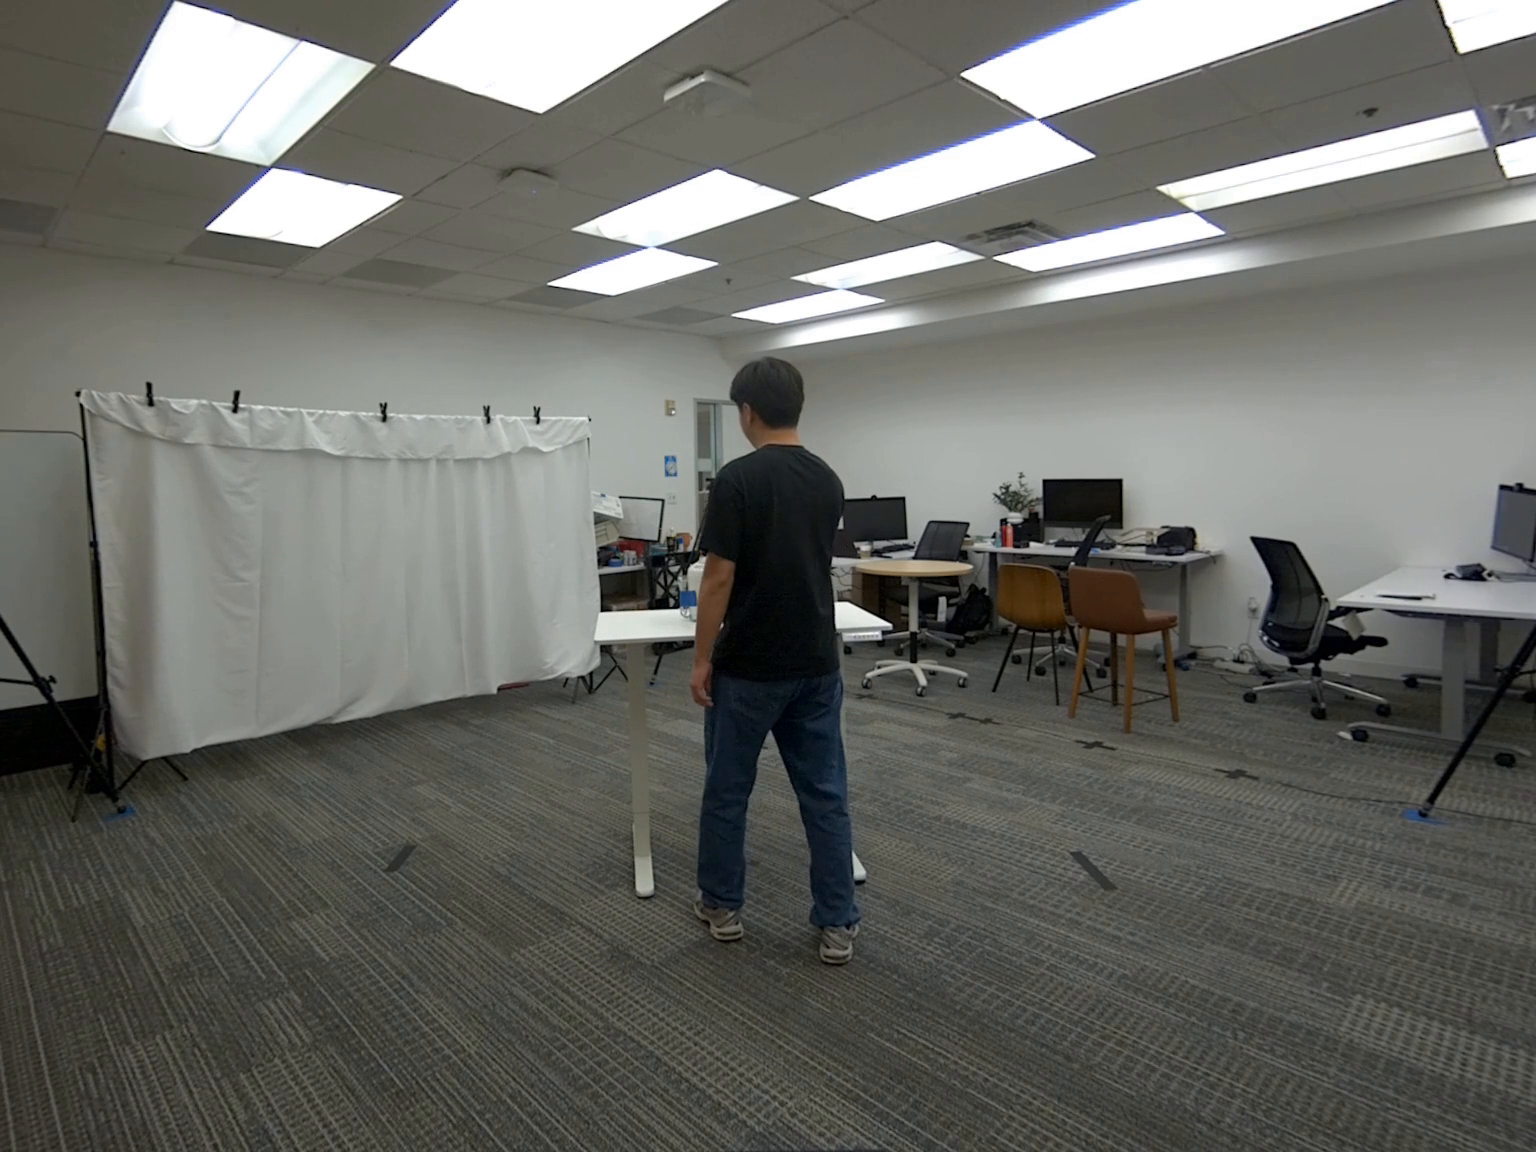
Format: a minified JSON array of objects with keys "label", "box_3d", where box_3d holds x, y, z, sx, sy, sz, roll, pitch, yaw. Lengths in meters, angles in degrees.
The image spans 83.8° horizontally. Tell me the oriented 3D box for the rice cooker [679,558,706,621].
[{"label":"rice cooker","box_3d":[-0.185,0.045,3.123,0.227,0.232,0.212,2,7,37]}]
